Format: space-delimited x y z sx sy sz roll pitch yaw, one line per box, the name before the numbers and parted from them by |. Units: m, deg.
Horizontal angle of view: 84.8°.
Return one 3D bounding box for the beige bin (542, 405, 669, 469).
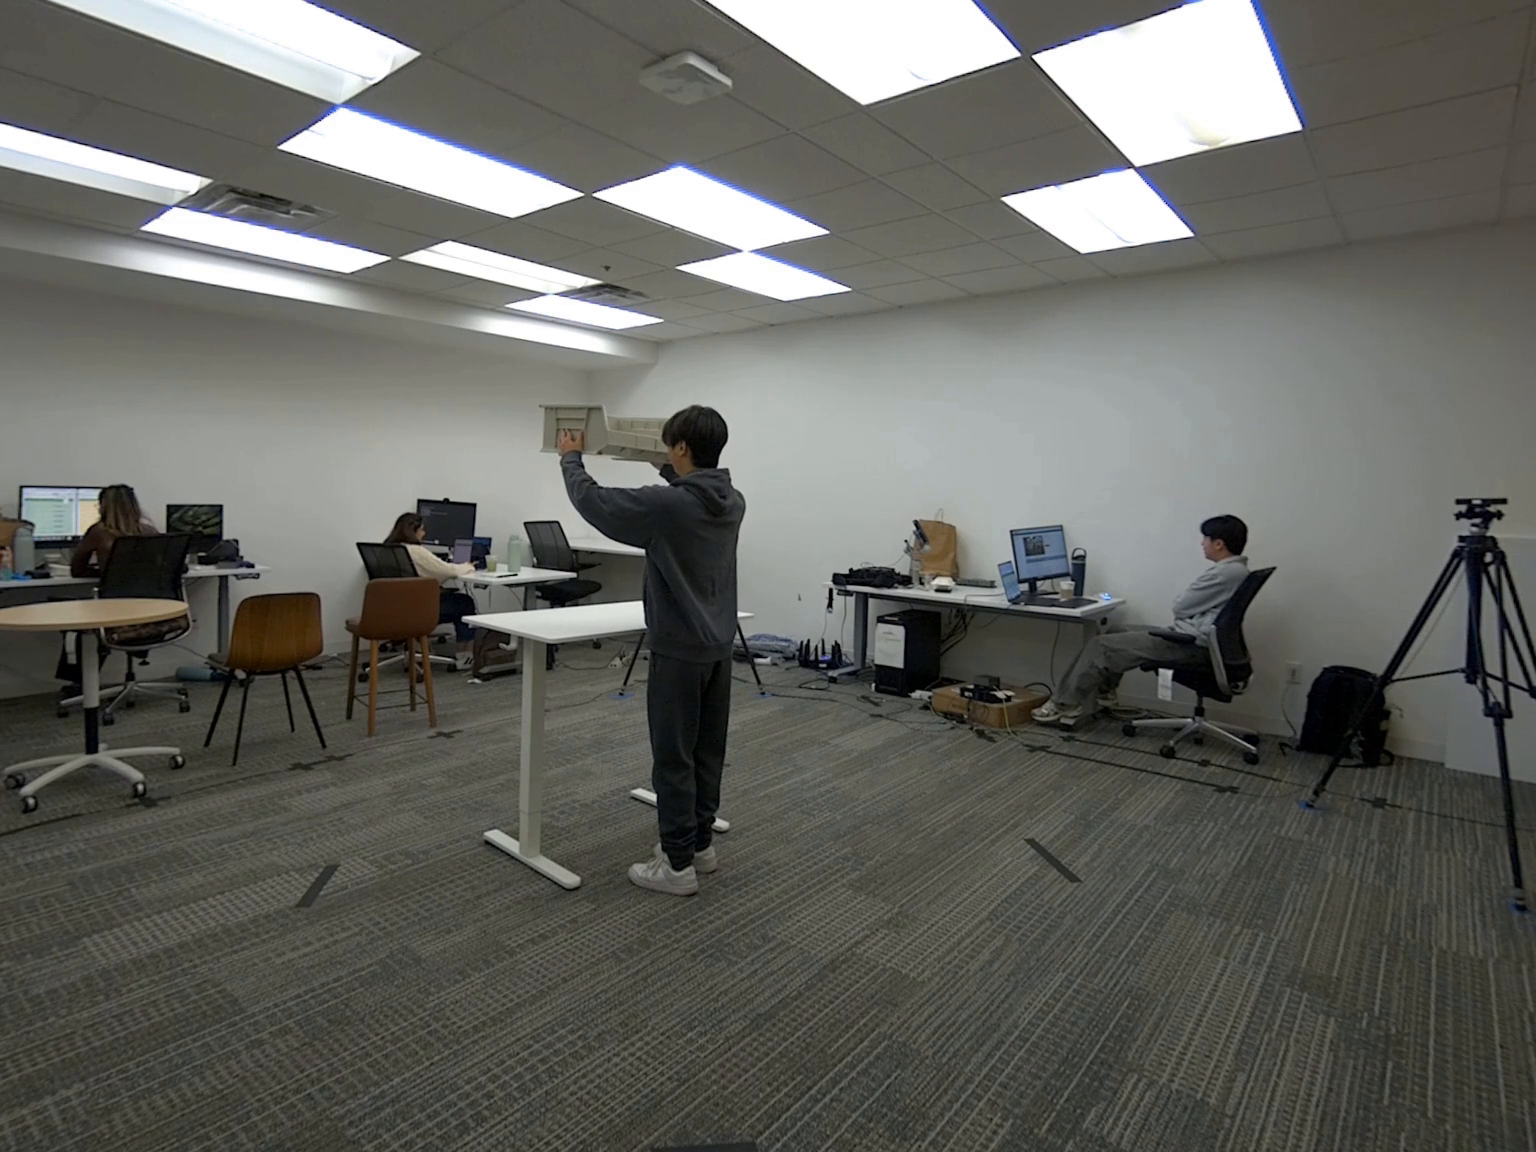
beige bin | -0.612 -0.541 3.264 0.390 0.188 0.410 8 7 36
